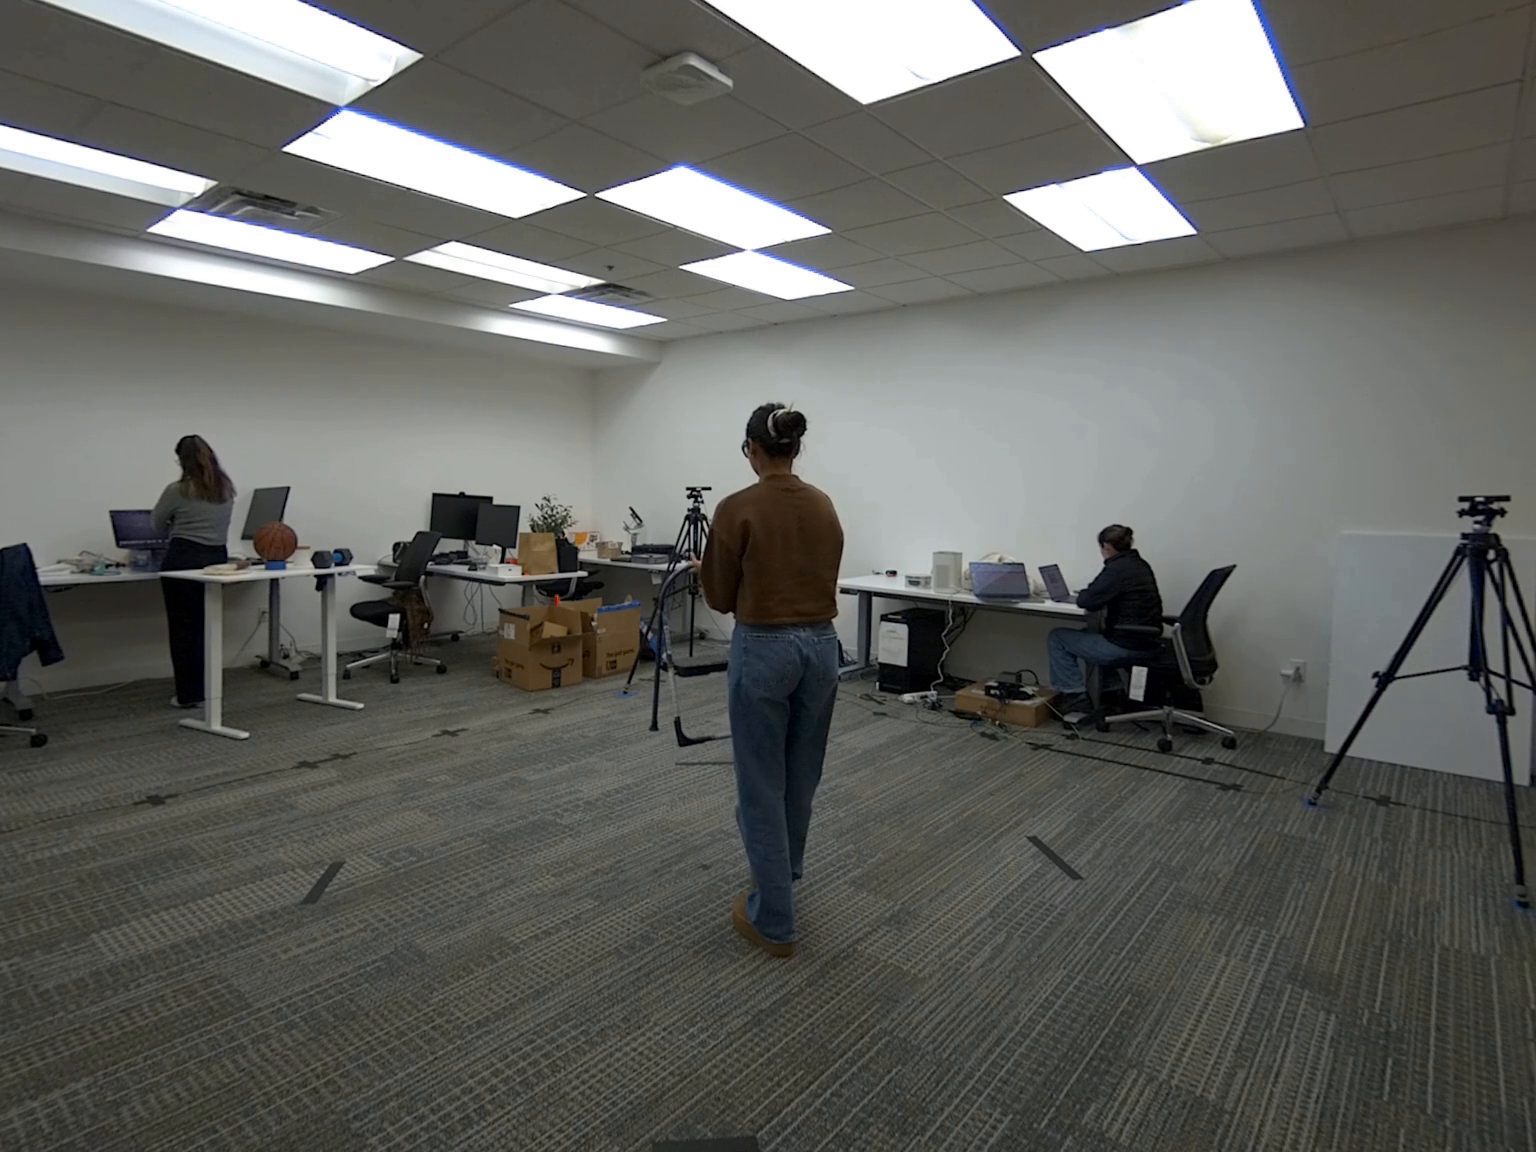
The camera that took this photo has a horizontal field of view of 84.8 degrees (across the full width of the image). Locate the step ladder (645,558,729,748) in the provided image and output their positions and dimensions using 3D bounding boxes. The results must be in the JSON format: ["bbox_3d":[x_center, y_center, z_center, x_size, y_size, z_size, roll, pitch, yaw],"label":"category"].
[{"bbox_3d":[-0.204,0.249,3.034,0.421,0.606,0.357,-4,0,-24],"label":"step ladder"}]
